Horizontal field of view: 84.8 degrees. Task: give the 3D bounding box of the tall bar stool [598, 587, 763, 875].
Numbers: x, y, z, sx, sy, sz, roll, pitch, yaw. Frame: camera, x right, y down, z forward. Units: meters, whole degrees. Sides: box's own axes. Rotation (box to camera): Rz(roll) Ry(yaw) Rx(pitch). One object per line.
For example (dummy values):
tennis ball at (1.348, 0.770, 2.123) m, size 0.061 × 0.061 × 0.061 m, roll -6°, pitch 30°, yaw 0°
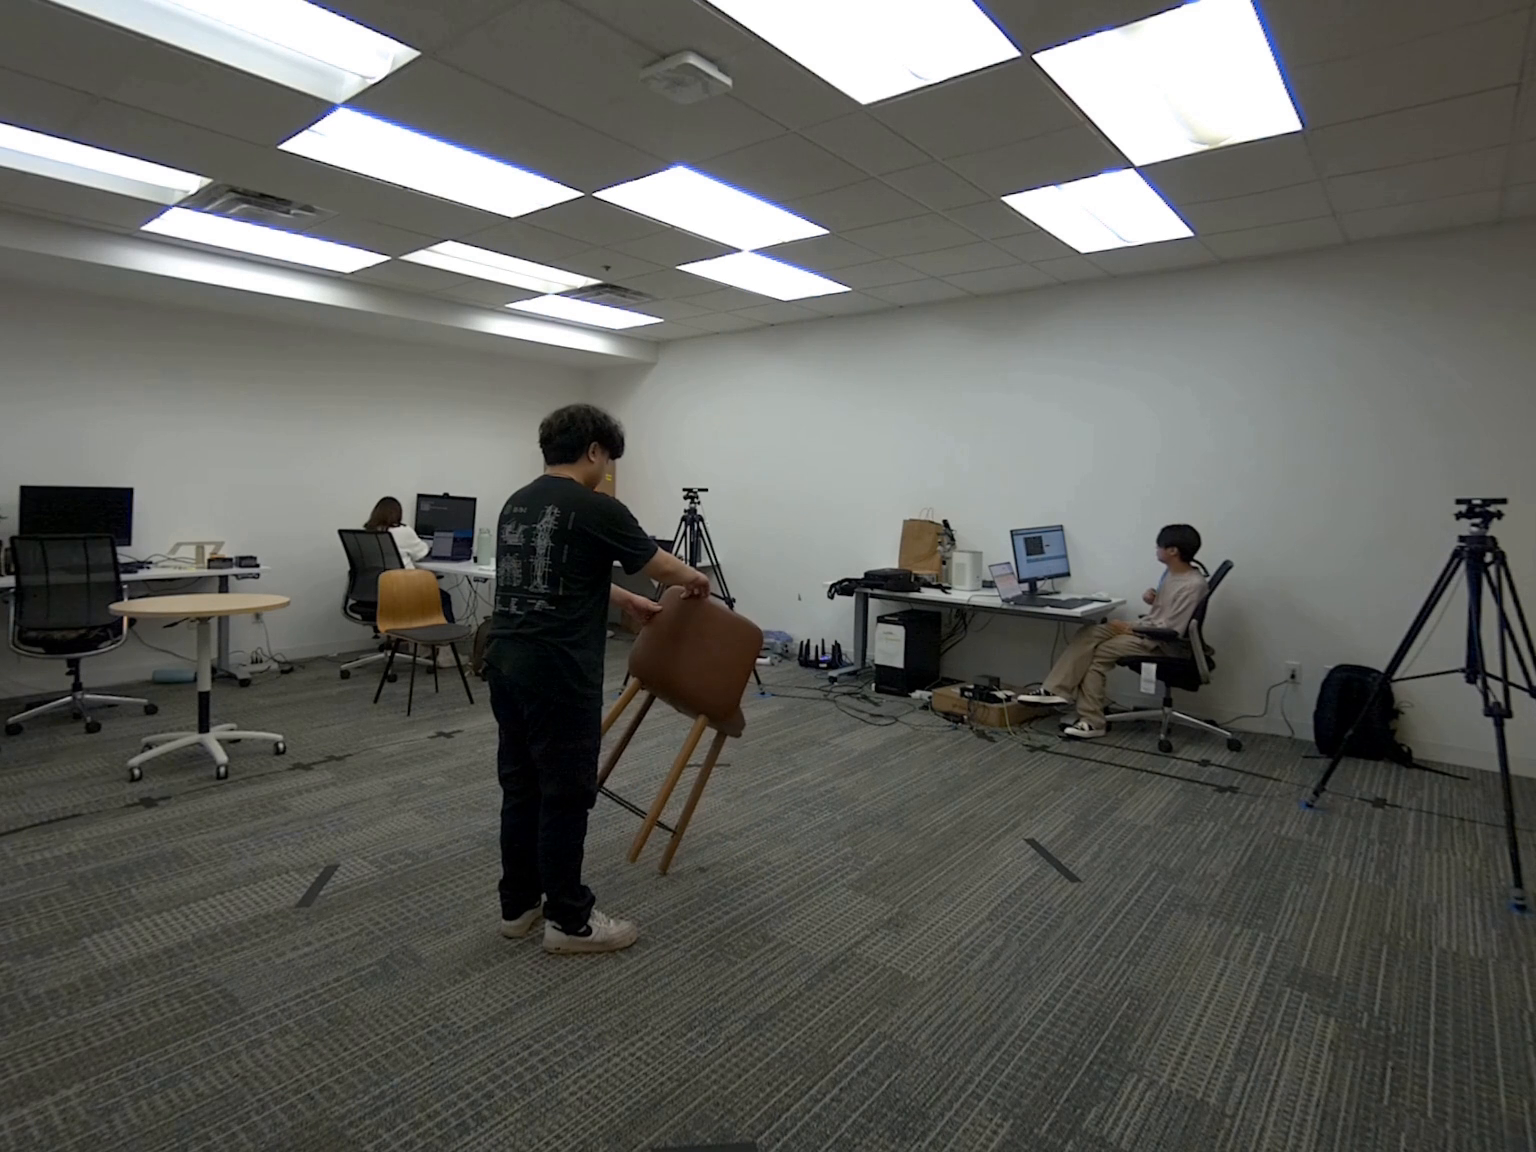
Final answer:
tall bar stool at (-0.375, 0.546, 3.063) m, size 0.468 × 0.894 × 0.454 m, roll 24°, pitch -16°, yaw 17°
